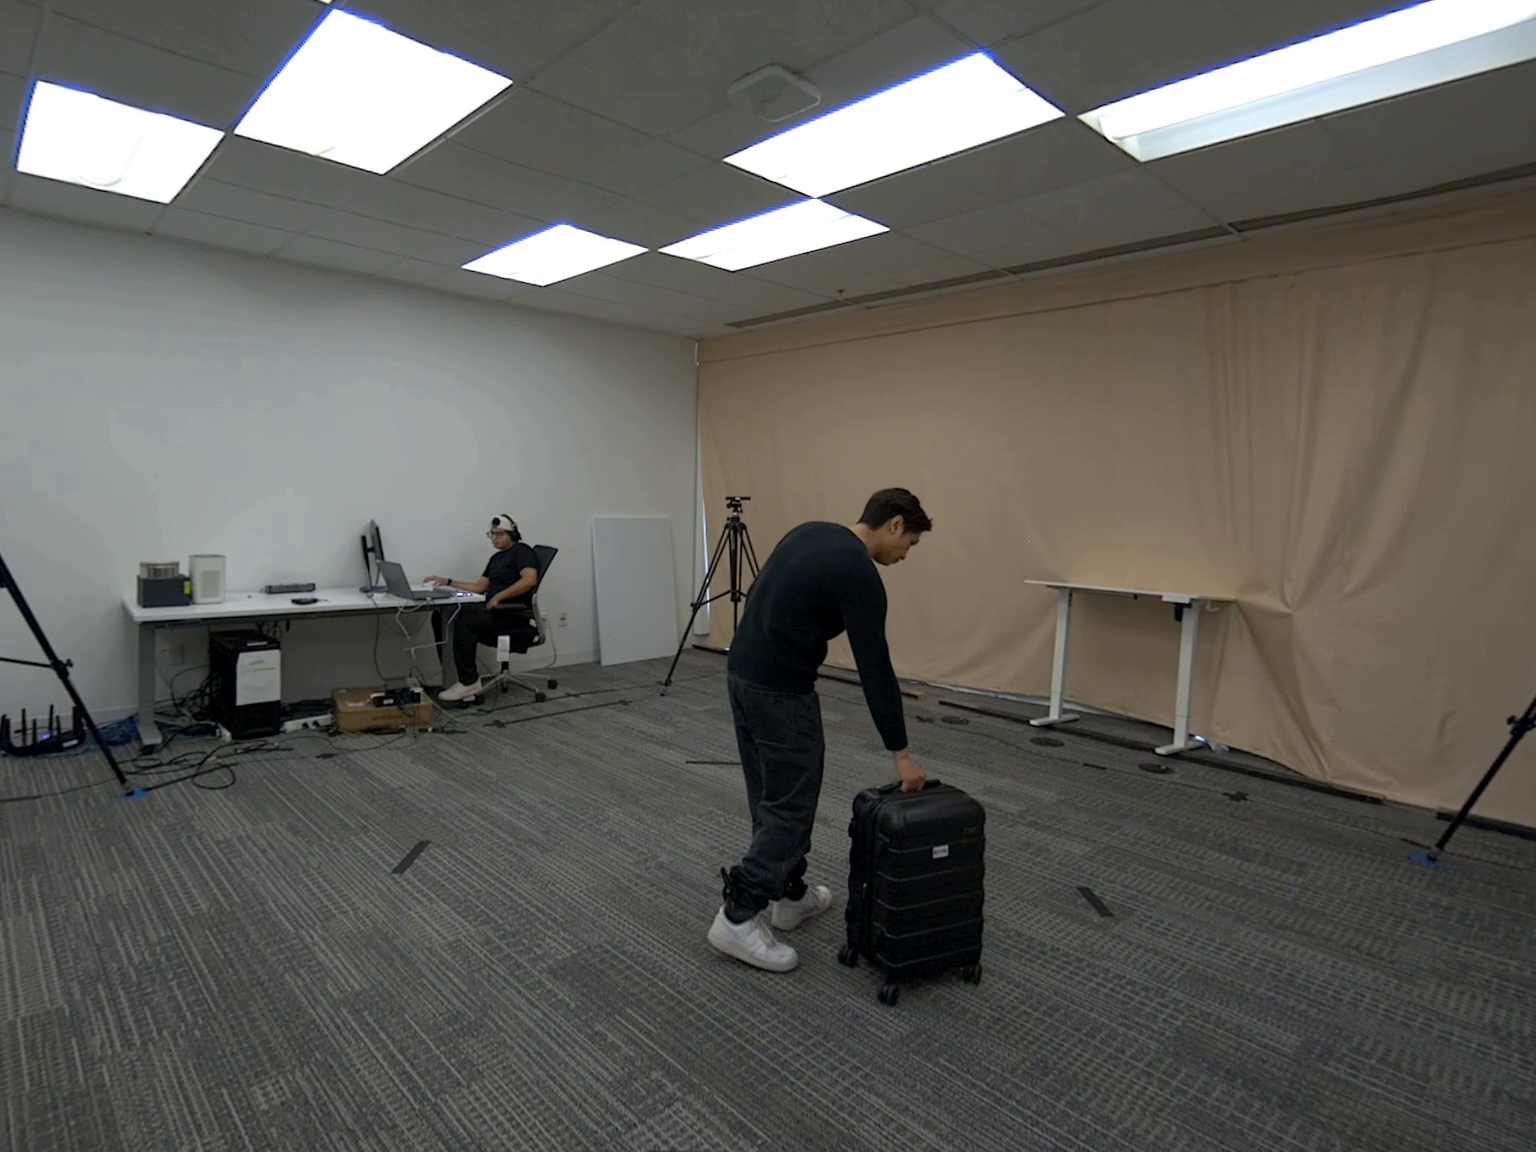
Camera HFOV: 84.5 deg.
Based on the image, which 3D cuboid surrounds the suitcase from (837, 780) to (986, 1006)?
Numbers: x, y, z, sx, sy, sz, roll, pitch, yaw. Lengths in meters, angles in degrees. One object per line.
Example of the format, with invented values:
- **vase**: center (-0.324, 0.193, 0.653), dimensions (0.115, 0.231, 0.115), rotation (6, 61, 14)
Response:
- **suitcase**: center (0.435, 0.901, 2.495), dimensions (0.368, 0.548, 0.253), rotation (1, 3, -25)
